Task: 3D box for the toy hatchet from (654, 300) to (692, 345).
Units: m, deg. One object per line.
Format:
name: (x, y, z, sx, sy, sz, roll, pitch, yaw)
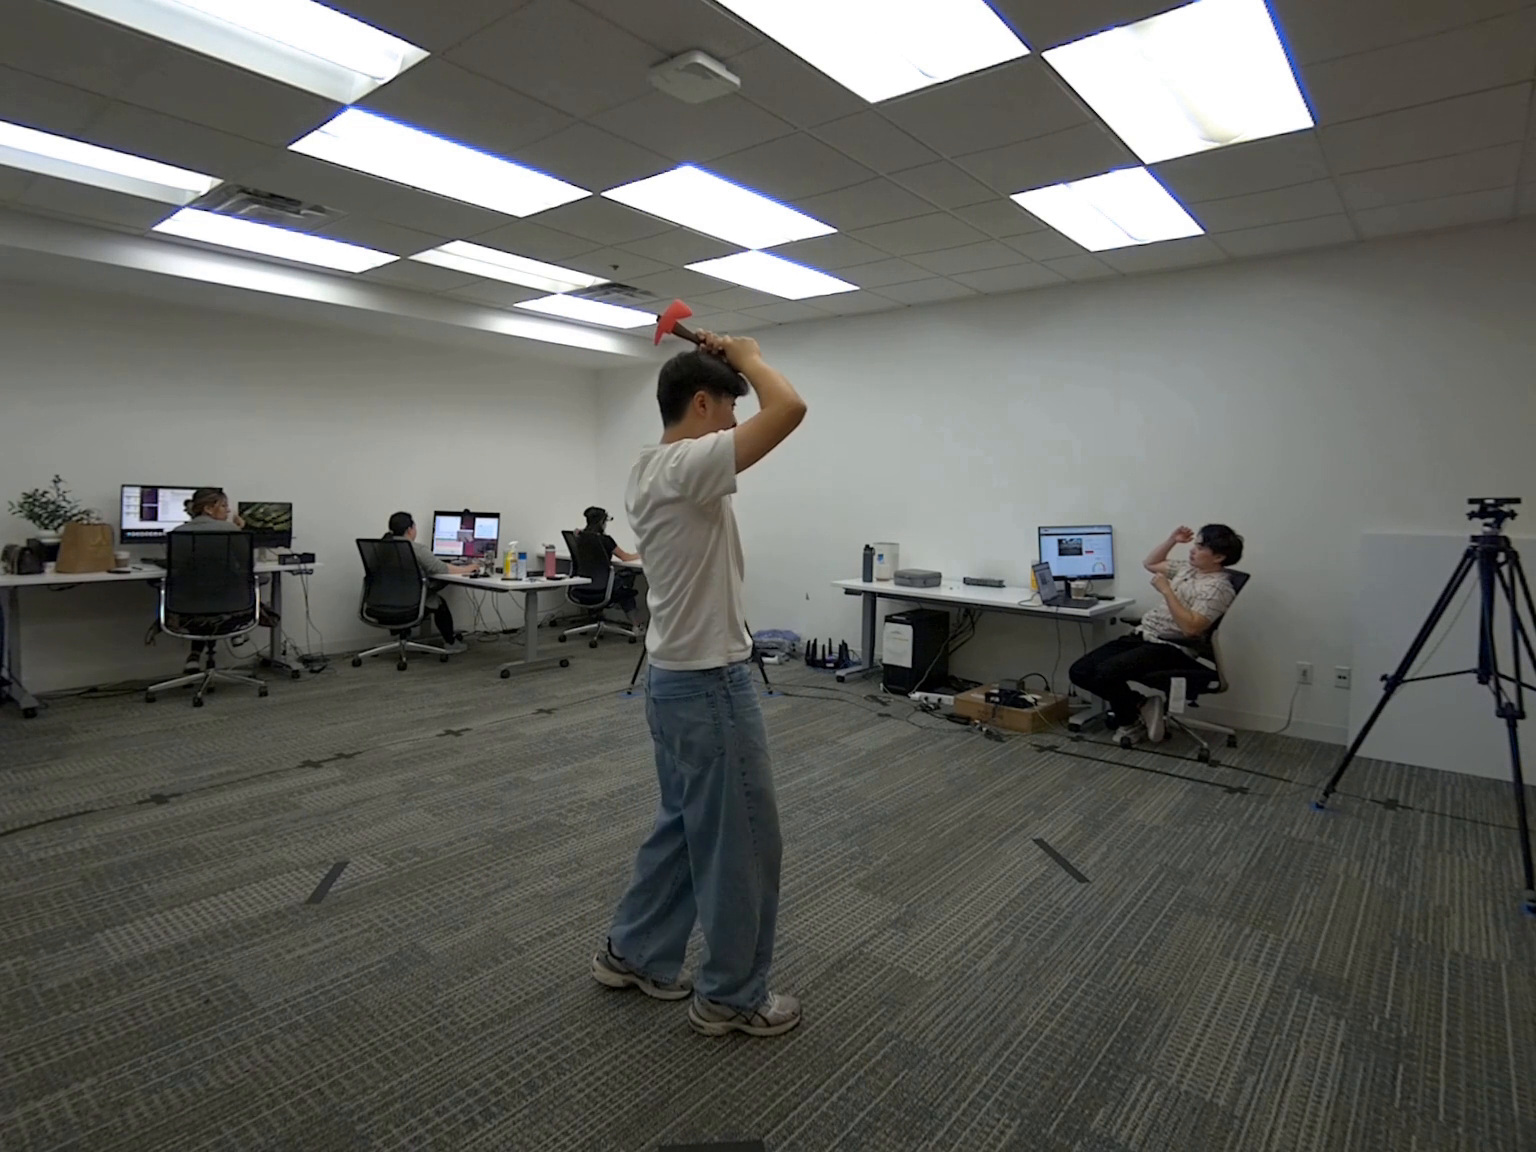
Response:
toy hatchet: (-0.171, -0.658, 2.252, 0.269, 0.131, 0.030, 7, 0, -4)
